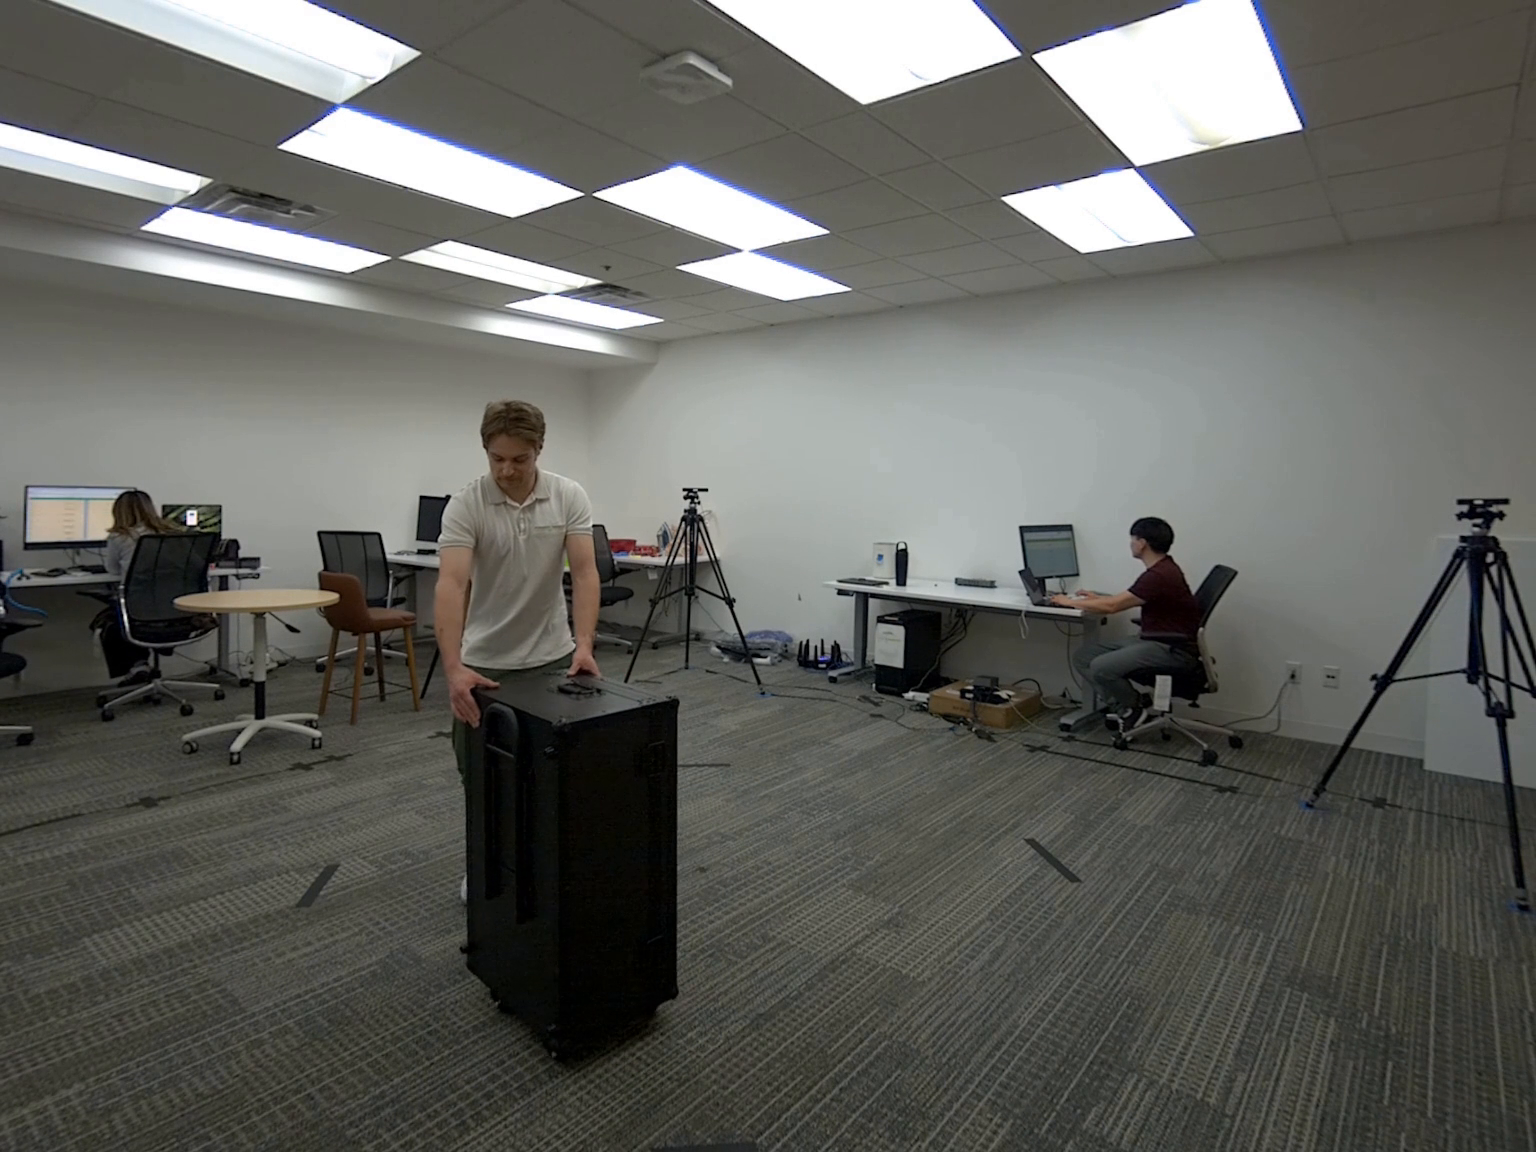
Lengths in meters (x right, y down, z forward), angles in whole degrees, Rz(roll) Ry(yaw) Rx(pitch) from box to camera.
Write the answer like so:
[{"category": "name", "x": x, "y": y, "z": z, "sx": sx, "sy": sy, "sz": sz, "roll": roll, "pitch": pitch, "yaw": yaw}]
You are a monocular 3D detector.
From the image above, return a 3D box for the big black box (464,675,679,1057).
[{"category": "big black box", "x": -0.522, "y": 0.729, "z": 2.231, "sx": 0.373, "sy": 0.866, "sz": 0.541, "roll": -3, "pitch": 5, "yaw": -45}]
